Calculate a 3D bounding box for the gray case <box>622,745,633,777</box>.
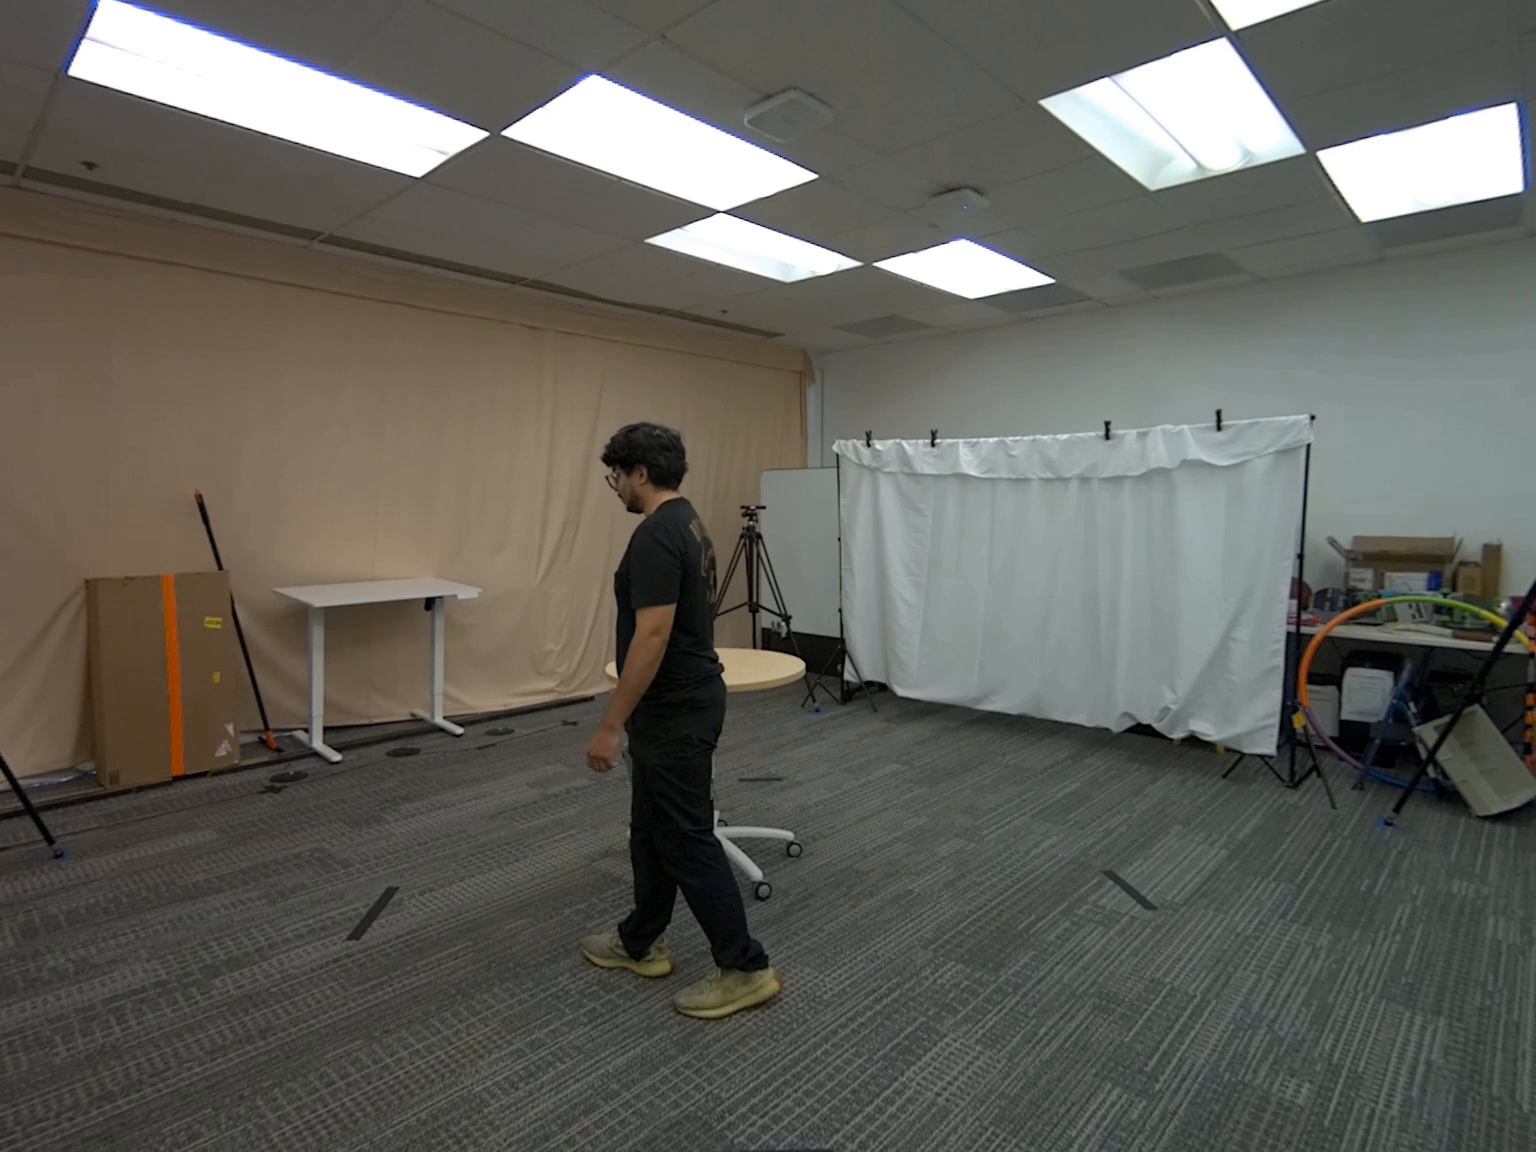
[{"bbox_3d":[-0.320,0.619,2.718,0.257,0.263,0.103,-17,-10,1],"label":"gray case"}]
